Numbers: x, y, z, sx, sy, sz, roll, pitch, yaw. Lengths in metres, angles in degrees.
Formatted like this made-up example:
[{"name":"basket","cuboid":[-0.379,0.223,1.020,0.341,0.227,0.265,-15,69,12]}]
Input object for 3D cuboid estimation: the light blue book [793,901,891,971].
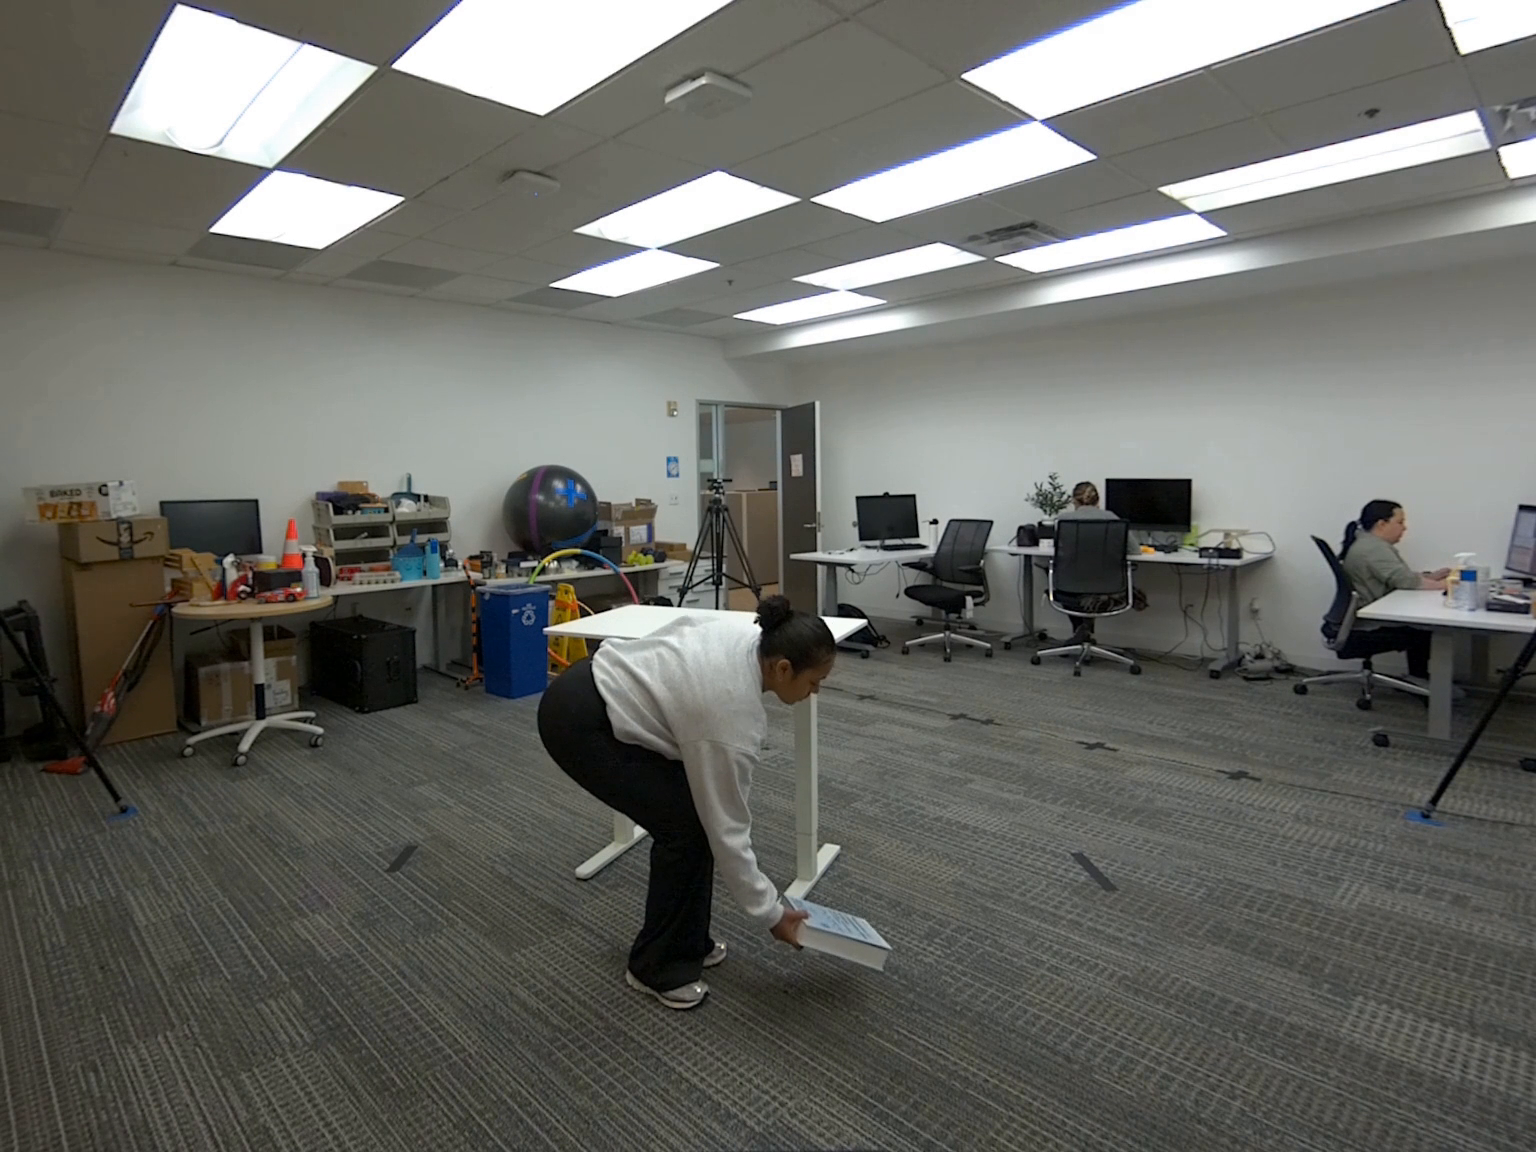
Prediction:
[{"name":"light blue book","cuboid":[0.176,0.959,2.329,0.257,0.059,0.194,21,0,-13]}]
